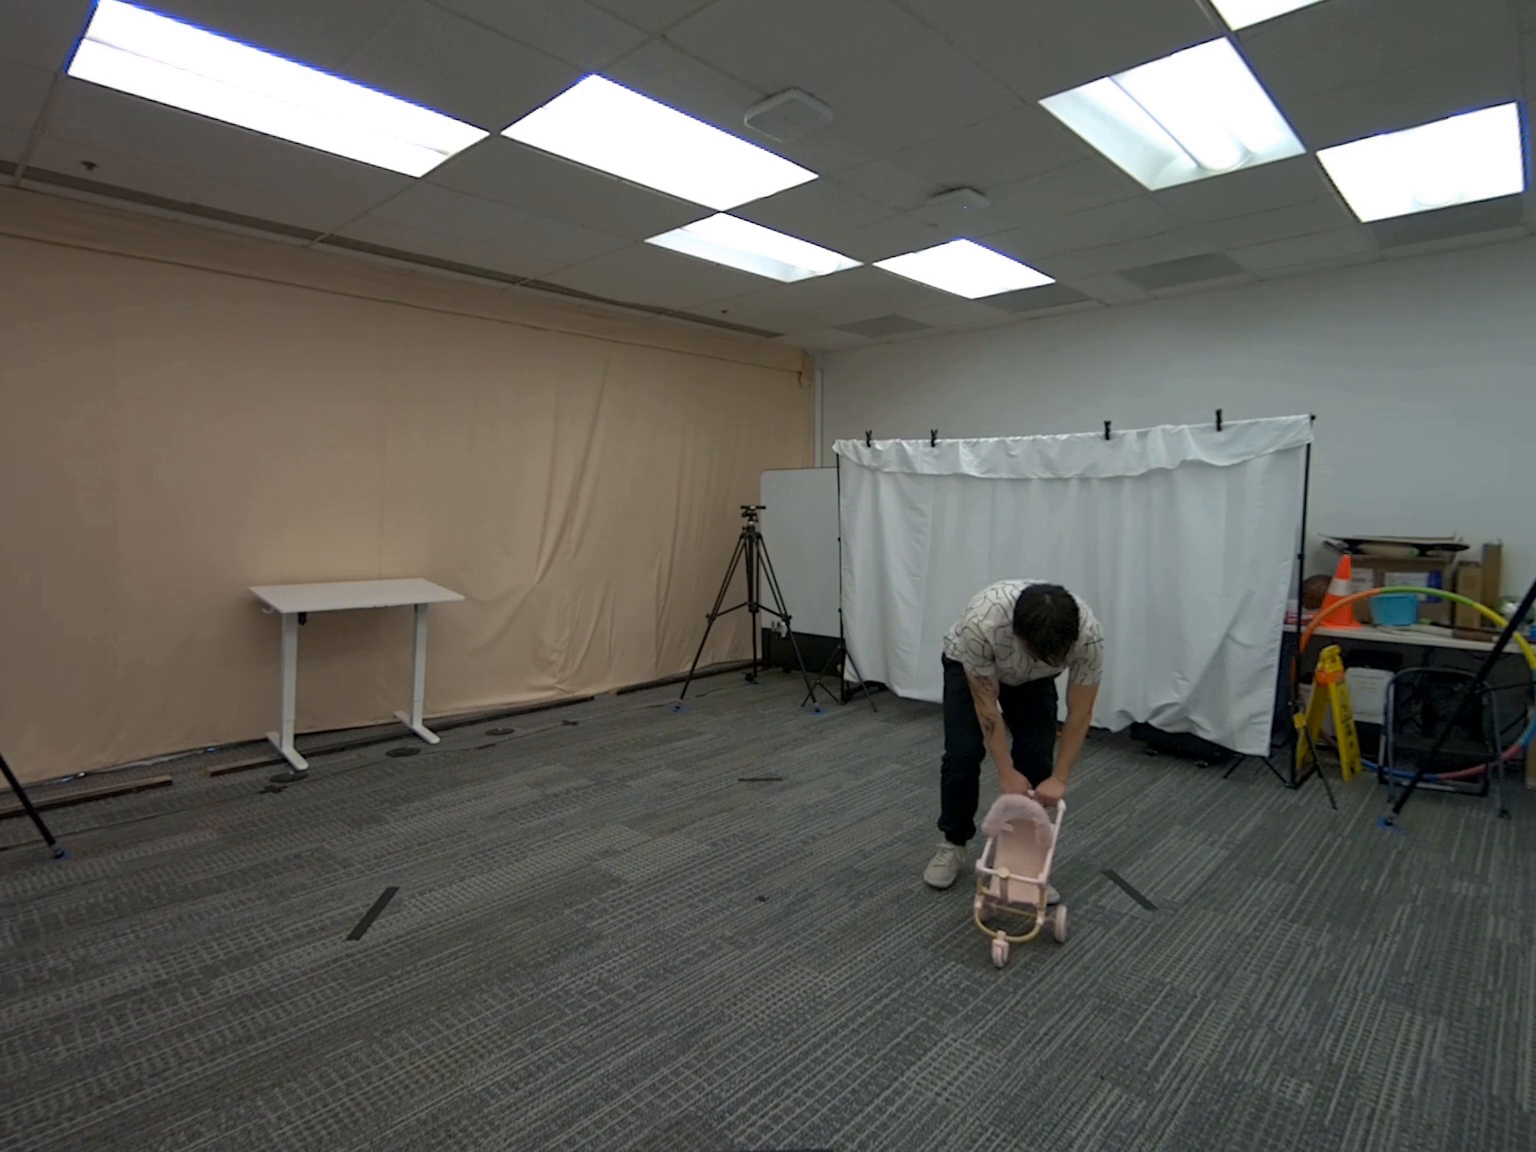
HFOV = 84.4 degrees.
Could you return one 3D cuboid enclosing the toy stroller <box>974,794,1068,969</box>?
[{"bbox_3d":[0.797,0.939,2.699,0.290,0.538,0.329,1,-14,35],"label":"toy stroller"}]
